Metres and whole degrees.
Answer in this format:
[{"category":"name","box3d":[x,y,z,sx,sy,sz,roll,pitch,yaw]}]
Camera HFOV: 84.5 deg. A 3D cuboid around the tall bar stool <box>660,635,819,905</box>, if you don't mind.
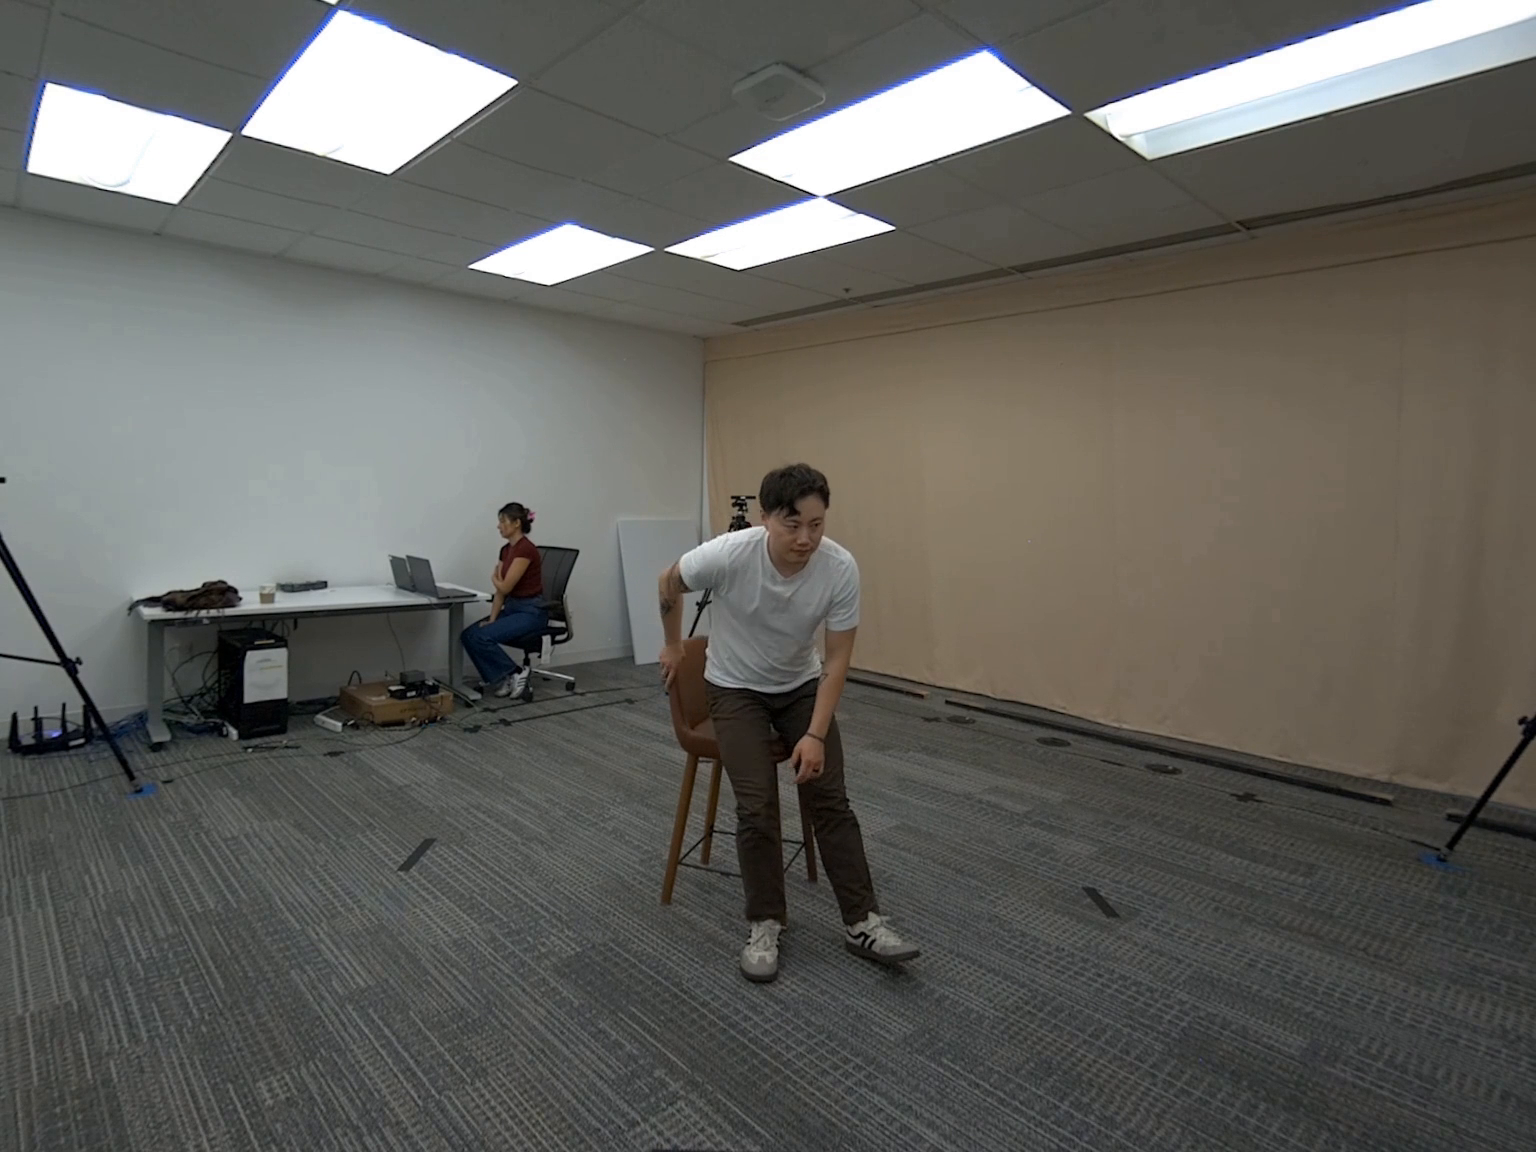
[{"category":"tall bar stool","box3d":[-0.098,0.688,2.946,0.475,0.887,0.450,2,4,21]}]
